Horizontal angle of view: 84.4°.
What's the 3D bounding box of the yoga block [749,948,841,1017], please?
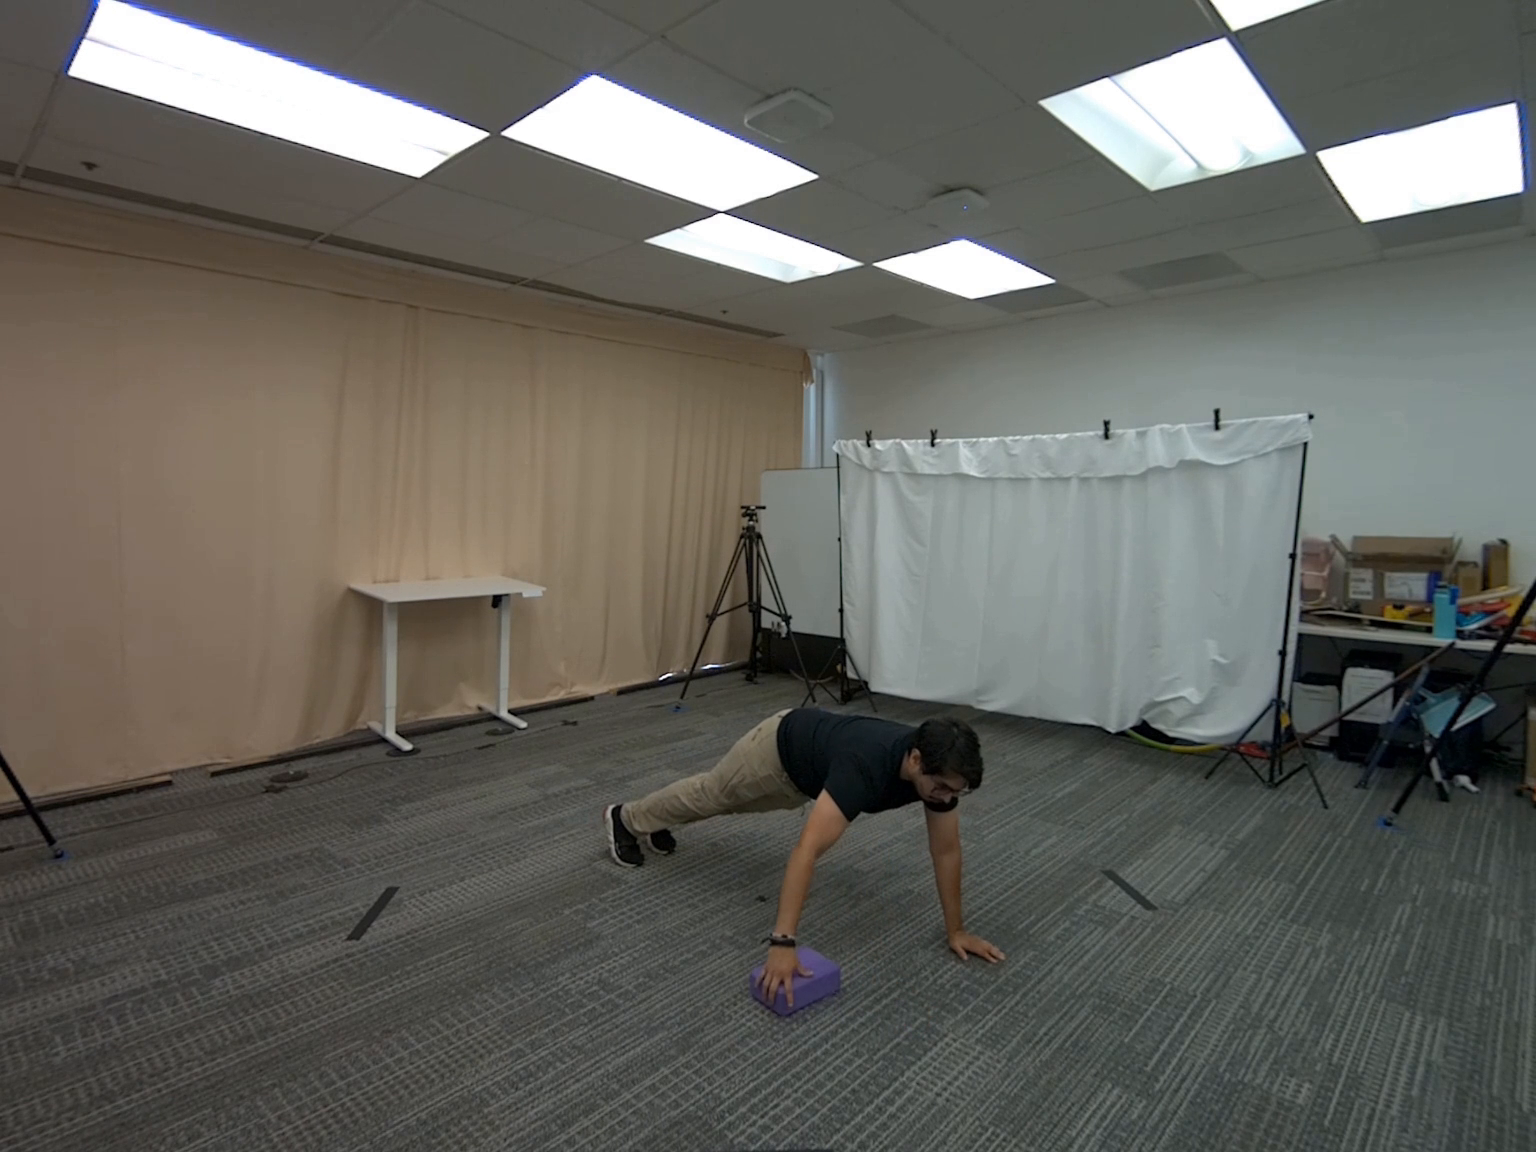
[{"bbox_3d":[0.080,1.147,2.409,0.222,0.076,0.154,-5,7,-40],"label":"yoga block"}]
